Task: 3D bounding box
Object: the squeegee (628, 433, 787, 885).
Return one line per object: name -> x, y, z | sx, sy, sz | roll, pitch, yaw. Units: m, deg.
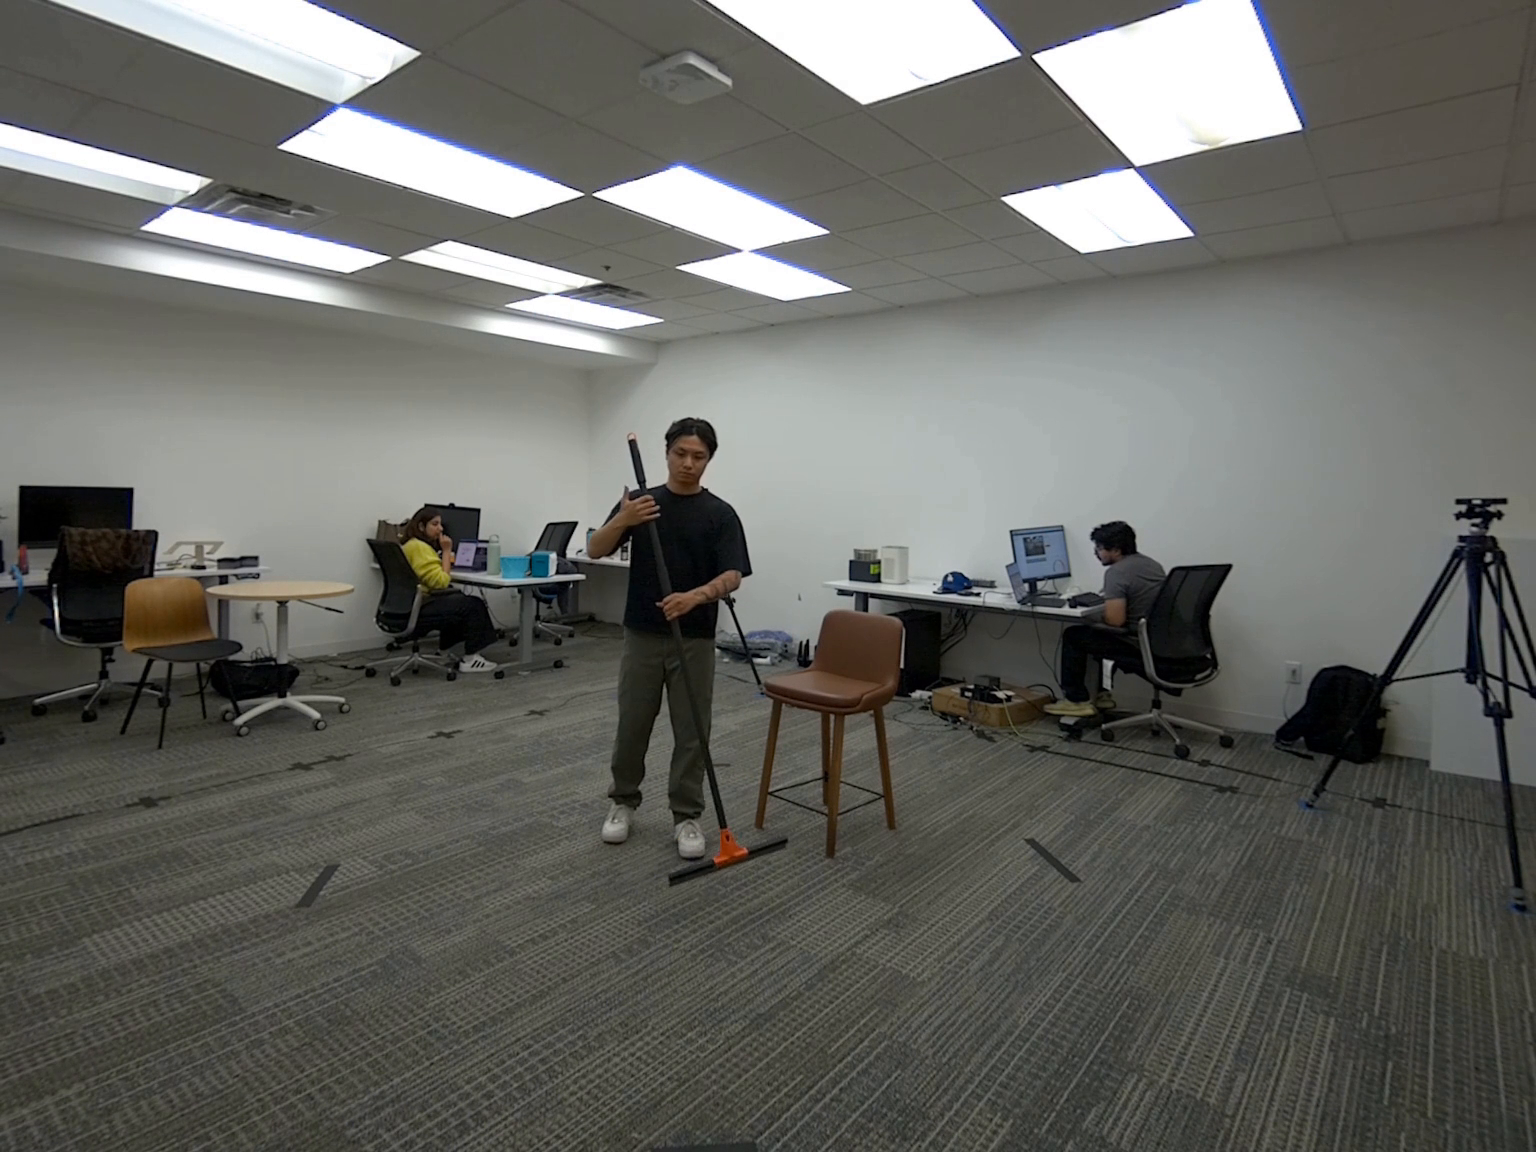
squeegee -> -0.307, 0.228, 2.947 | 0.428, 1.554, 0.053 | -9, -10, -25
